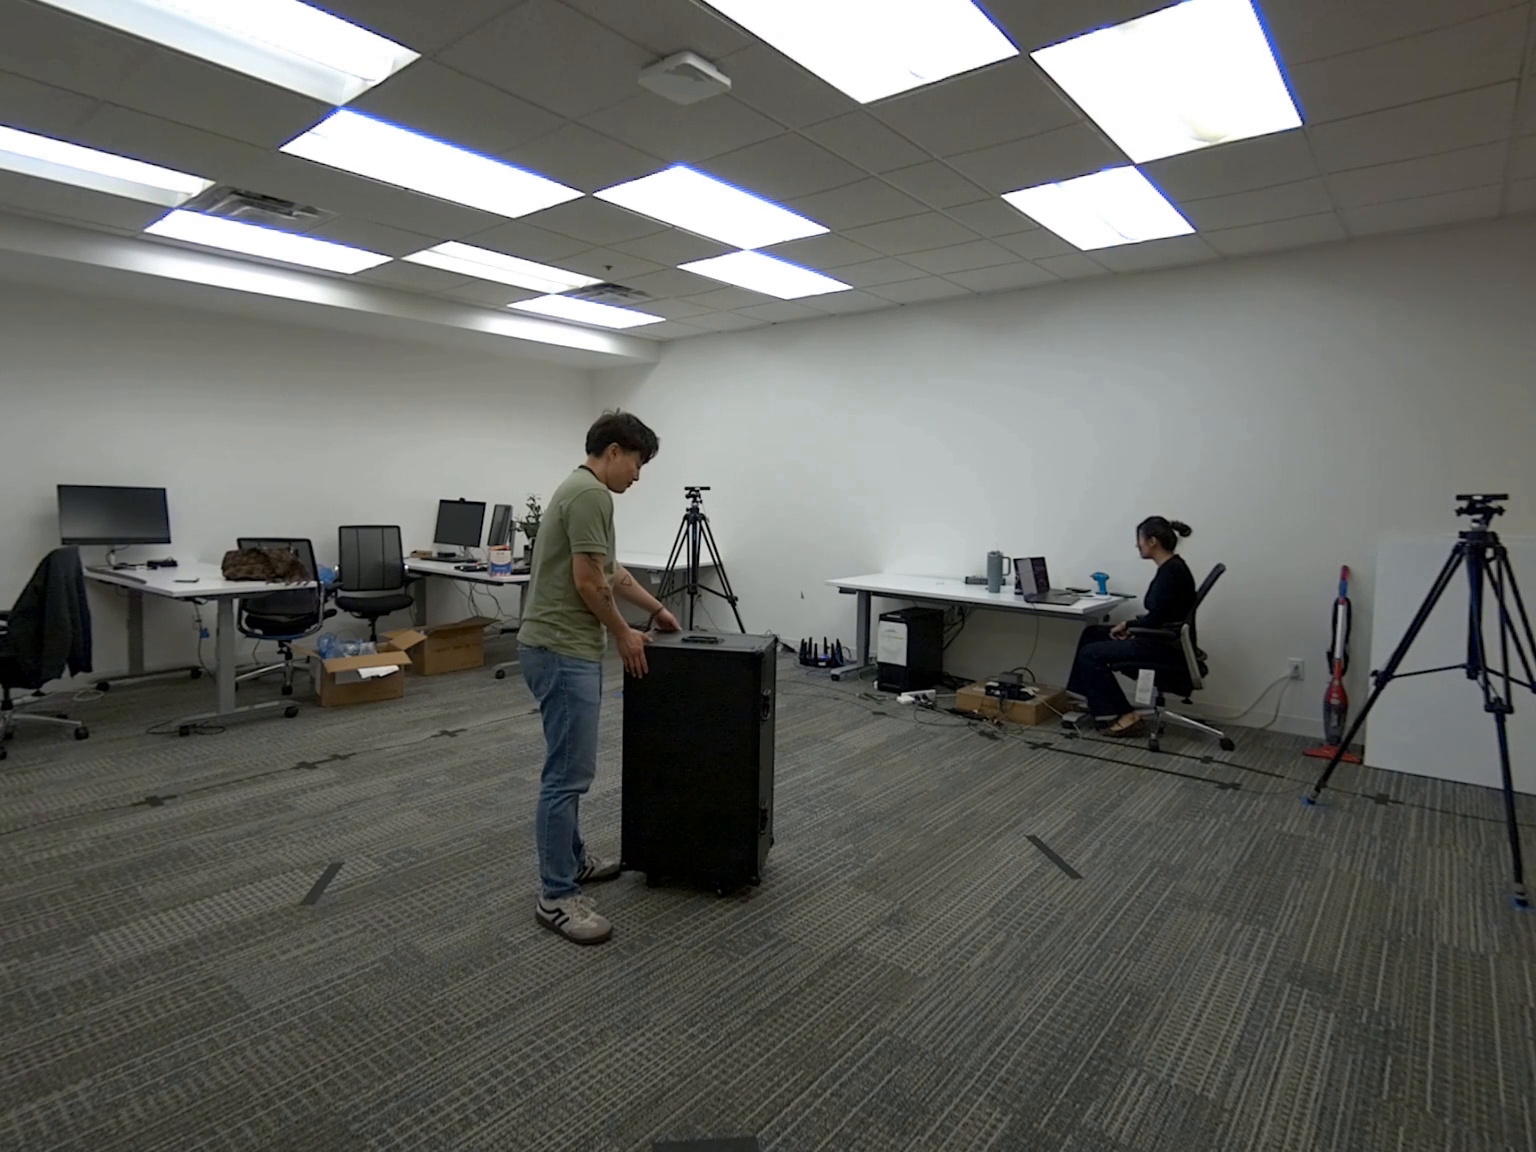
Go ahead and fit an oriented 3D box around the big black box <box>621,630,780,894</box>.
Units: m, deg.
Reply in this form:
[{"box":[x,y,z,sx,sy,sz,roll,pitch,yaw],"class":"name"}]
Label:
[{"box":[-0.244,0.651,3.050,0.527,0.859,0.393,2,3,9],"class":"big black box"}]
